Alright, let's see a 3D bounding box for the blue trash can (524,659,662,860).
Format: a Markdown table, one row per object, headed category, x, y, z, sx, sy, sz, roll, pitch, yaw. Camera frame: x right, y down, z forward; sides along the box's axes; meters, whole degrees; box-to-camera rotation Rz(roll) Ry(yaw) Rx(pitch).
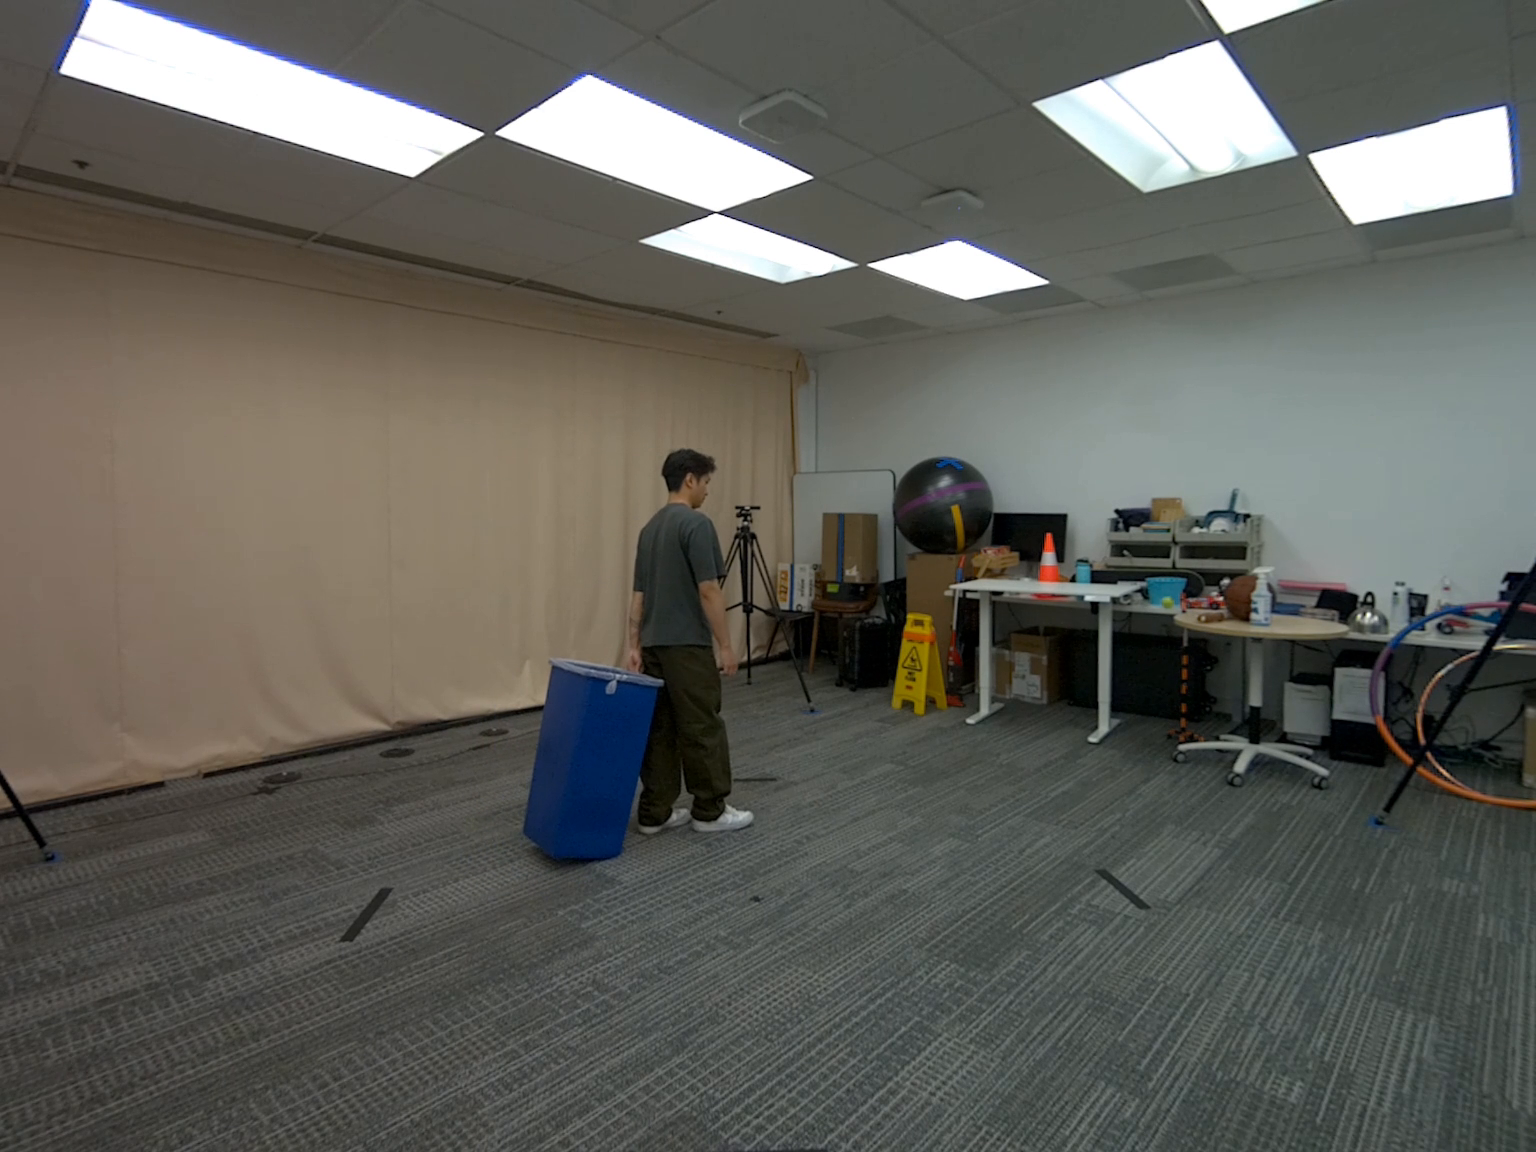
| category | x | y | z | sx | sy | sz | roll | pitch | yaw |
| --- | --- | --- | --- | --- | --- | --- | --- | --- | --- |
| blue trash can | -0.737 | 0.730 | 3.424 | 0.365 | 0.715 | 0.386 | 16 | -7 | -38 |
